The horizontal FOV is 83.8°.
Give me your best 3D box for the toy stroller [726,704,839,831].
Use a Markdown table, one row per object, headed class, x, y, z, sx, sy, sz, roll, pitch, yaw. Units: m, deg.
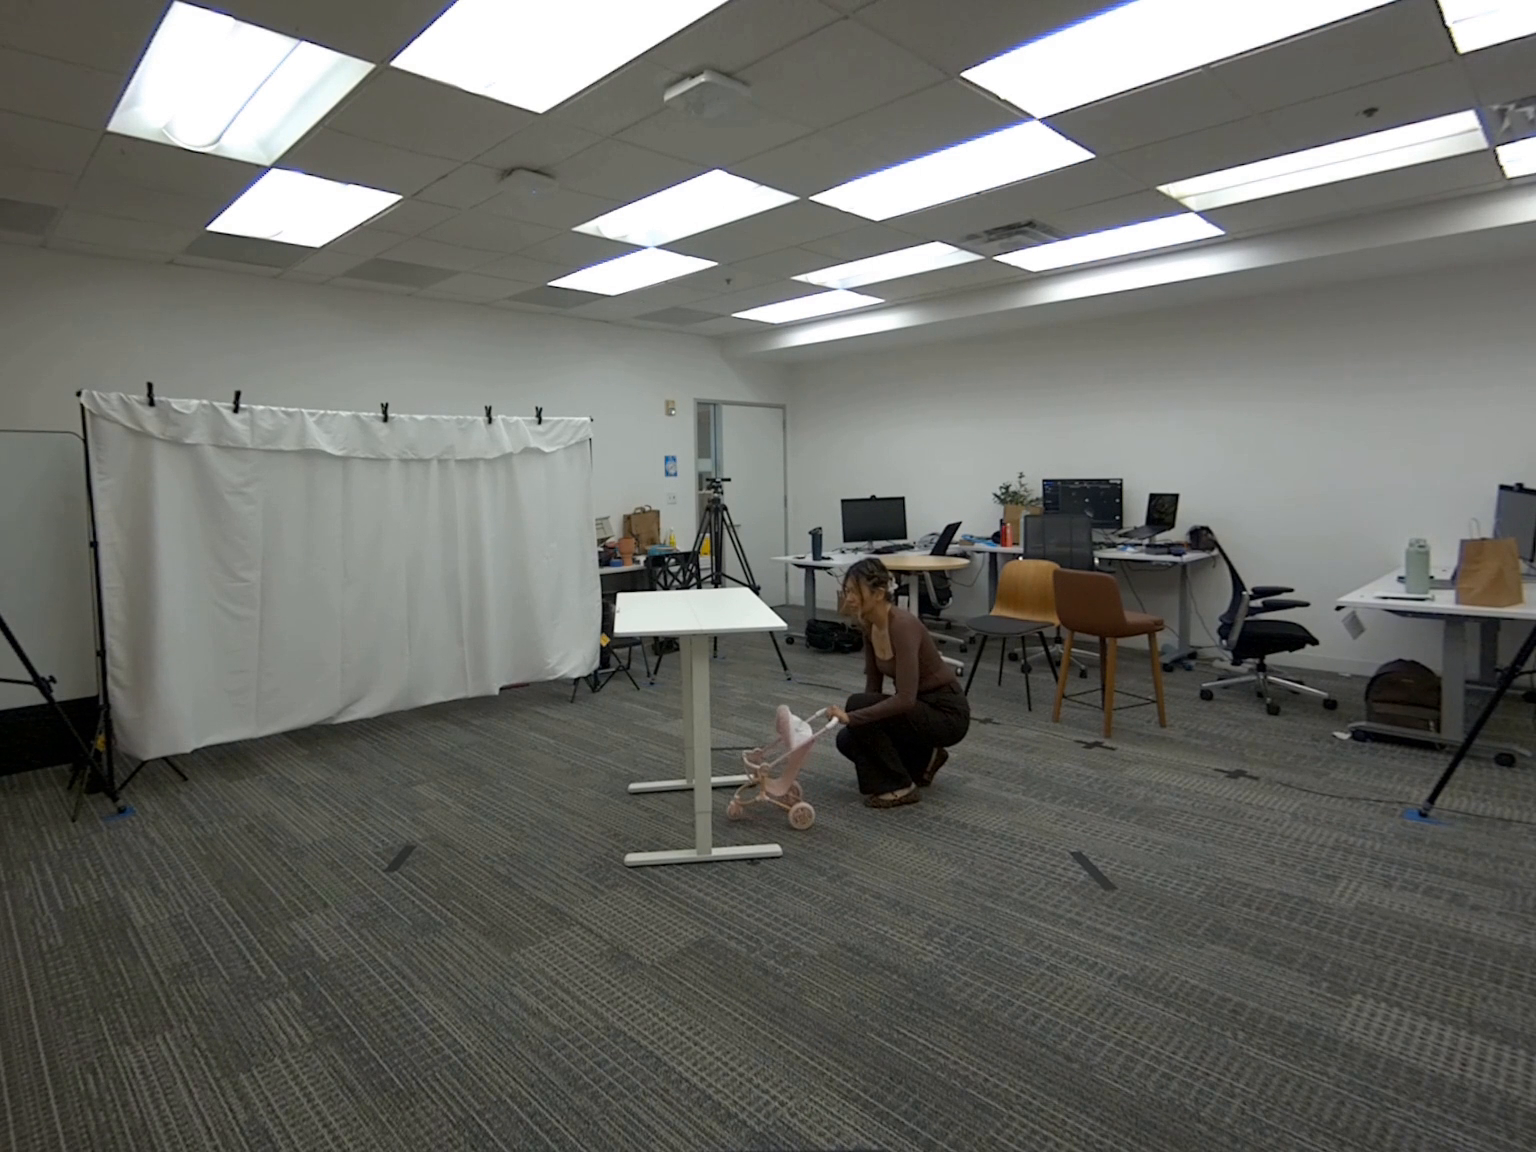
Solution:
| class | x | y | z | sx | sy | sz | roll | pitch | yaw |
| --- | --- | --- | --- | --- | --- | --- | --- | --- | --- |
| toy stroller | 0.045 | 0.767 | 3.499 | 0.340 | 0.534 | 0.283 | 14 | 3 | -4 |
